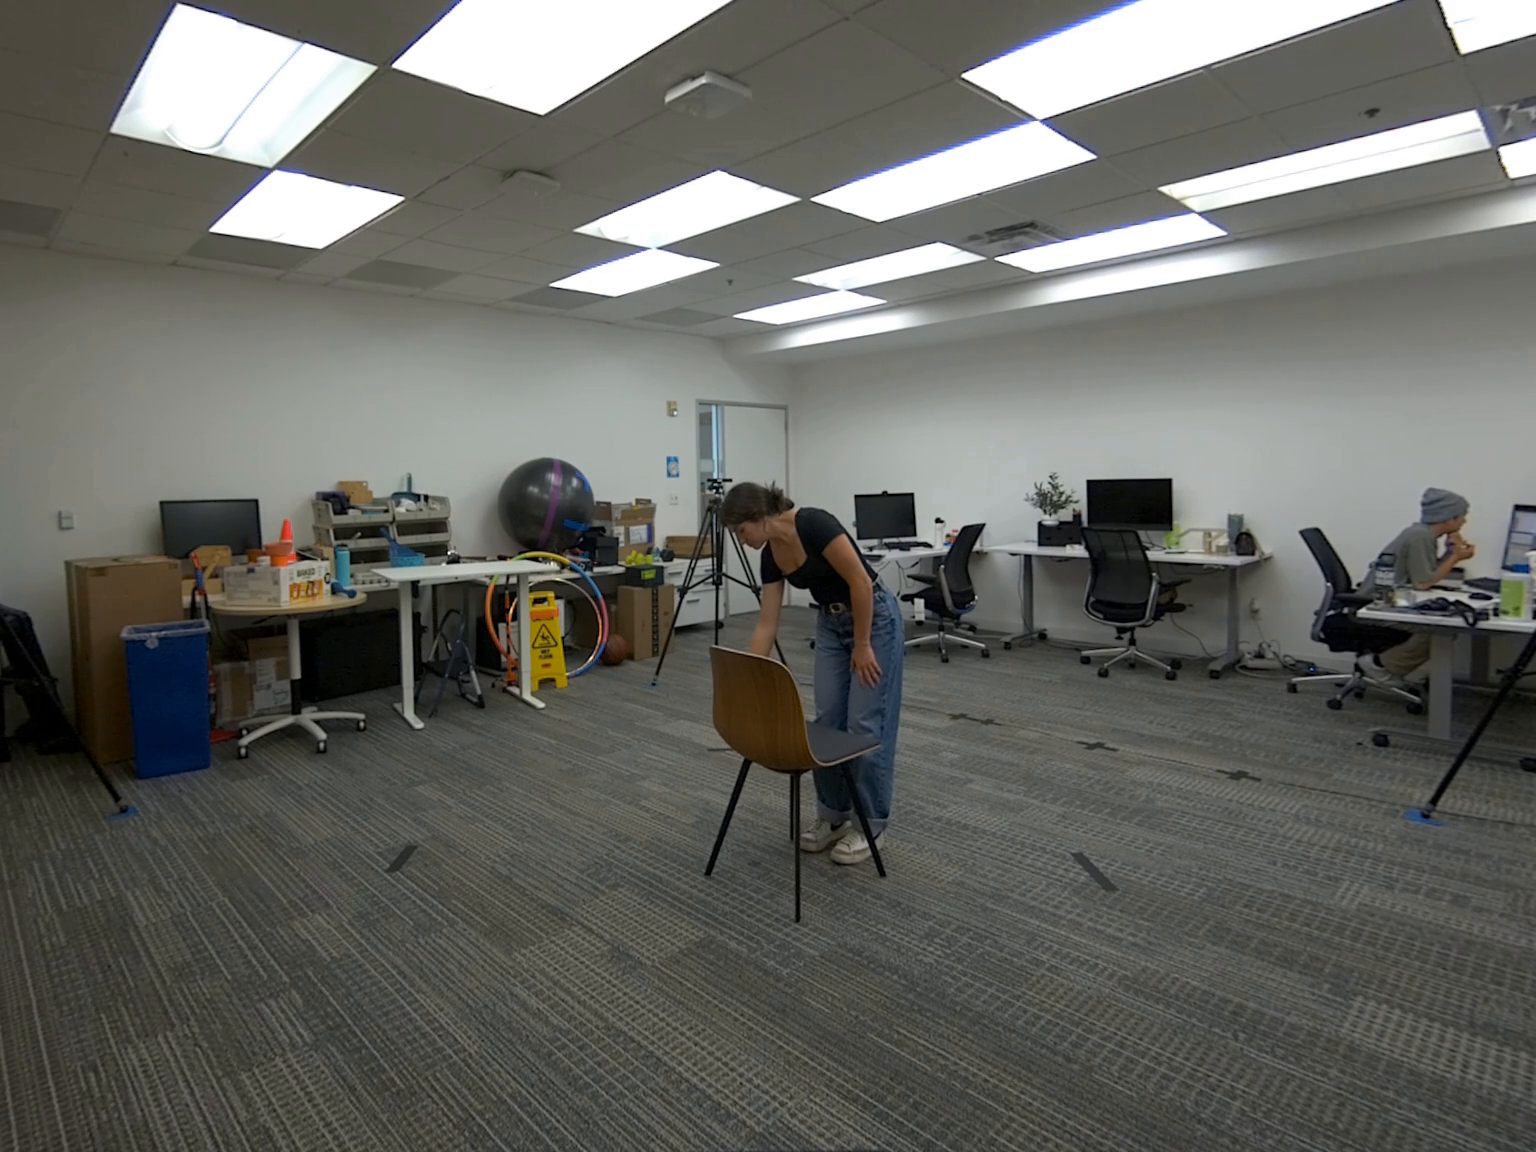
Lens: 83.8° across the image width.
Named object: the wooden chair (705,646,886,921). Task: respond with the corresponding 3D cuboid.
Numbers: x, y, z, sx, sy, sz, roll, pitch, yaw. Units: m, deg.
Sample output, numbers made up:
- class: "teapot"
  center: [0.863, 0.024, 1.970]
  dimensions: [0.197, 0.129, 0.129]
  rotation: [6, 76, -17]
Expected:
- class: "wooden chair"
  center: [0.091, 0.631, 2.970]
  dimensions: [0.511, 0.872, 0.493]
  rotation: [-10, 9, -43]
